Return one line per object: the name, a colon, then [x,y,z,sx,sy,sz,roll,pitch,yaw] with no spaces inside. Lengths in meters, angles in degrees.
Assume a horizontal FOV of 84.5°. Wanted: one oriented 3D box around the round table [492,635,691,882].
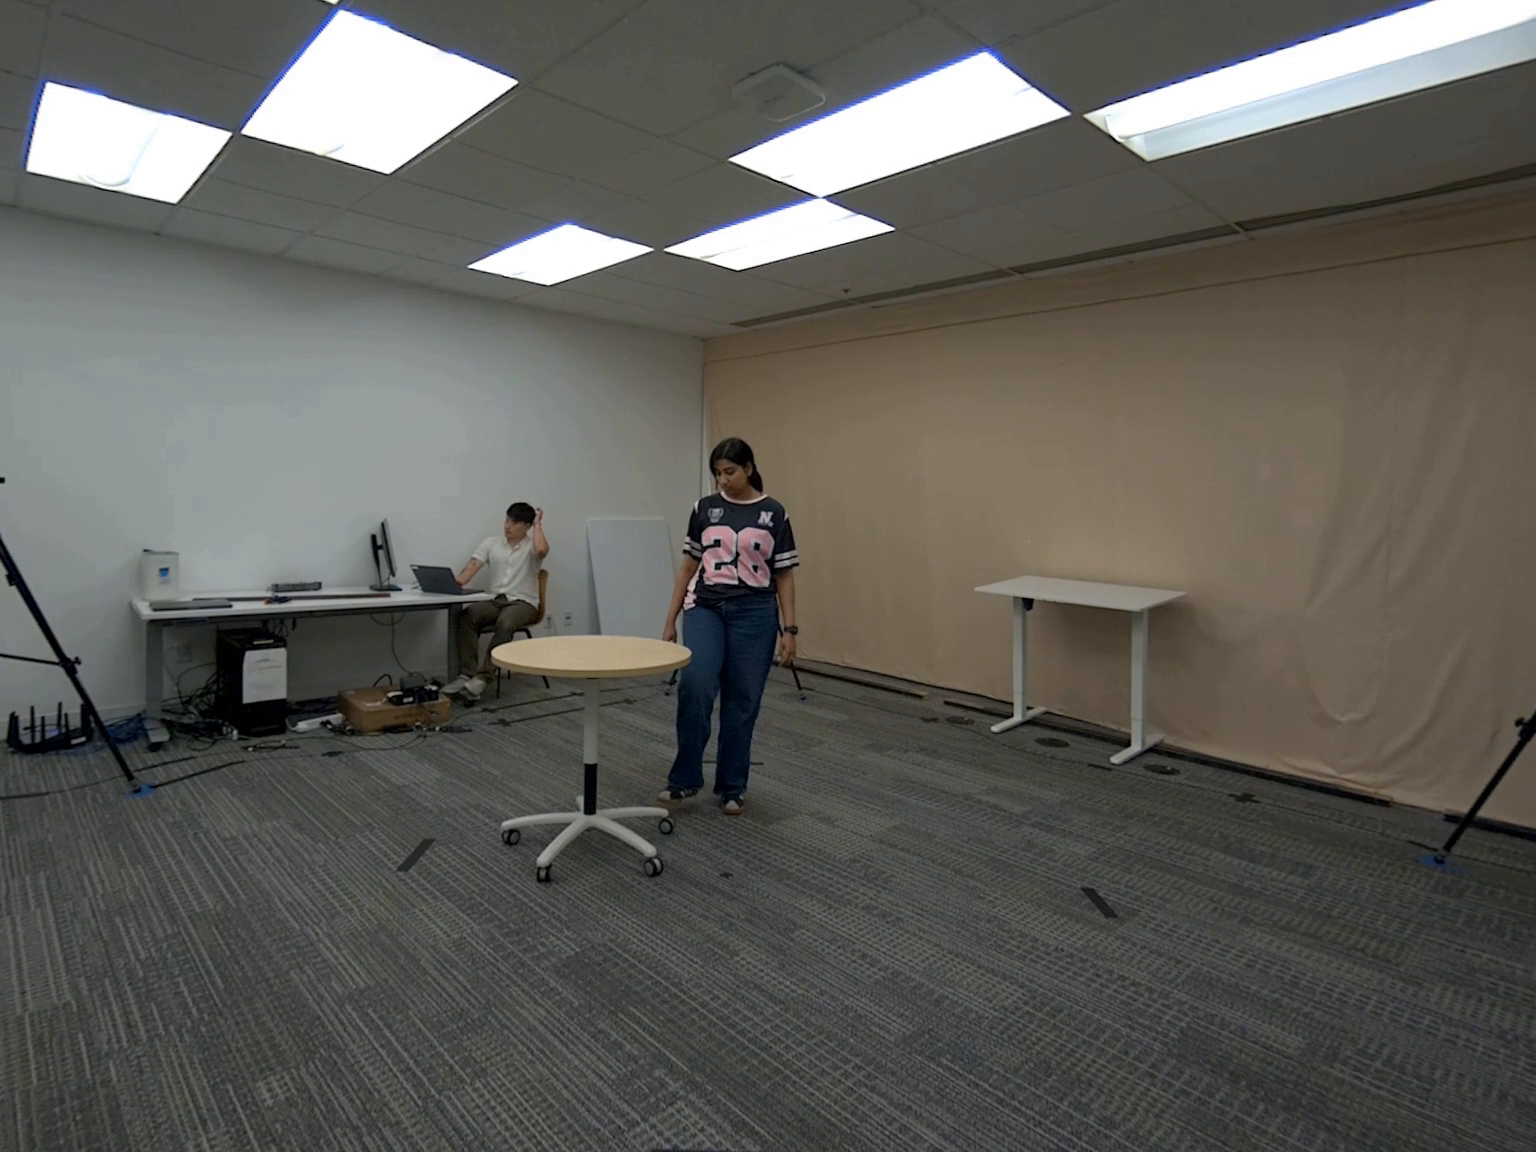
round table: [-0.702,0.688,3.295,0.763,0.792,0.766,1,4,-1]
